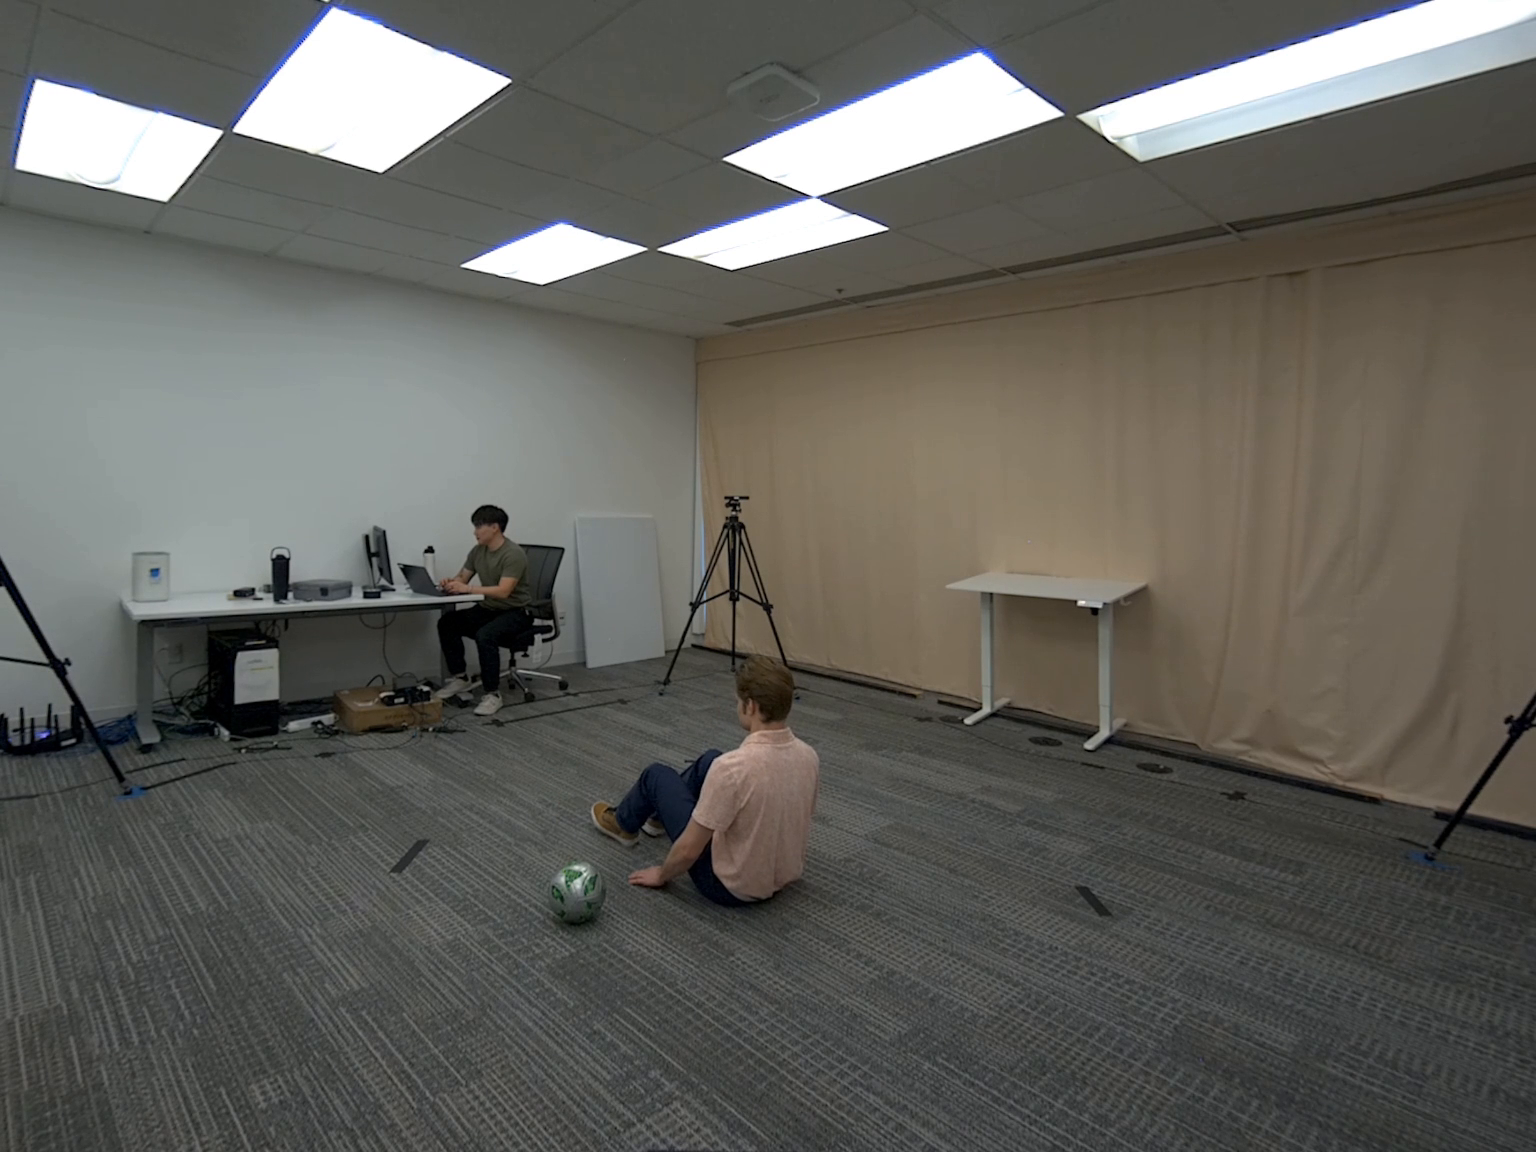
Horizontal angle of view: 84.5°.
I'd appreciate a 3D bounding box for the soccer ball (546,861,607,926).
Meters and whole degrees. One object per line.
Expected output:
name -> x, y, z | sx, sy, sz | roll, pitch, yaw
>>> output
soccer ball -> -0.630, 1.028, 2.750 | 0.187, 0.187, 0.188 | 1, 4, -1
